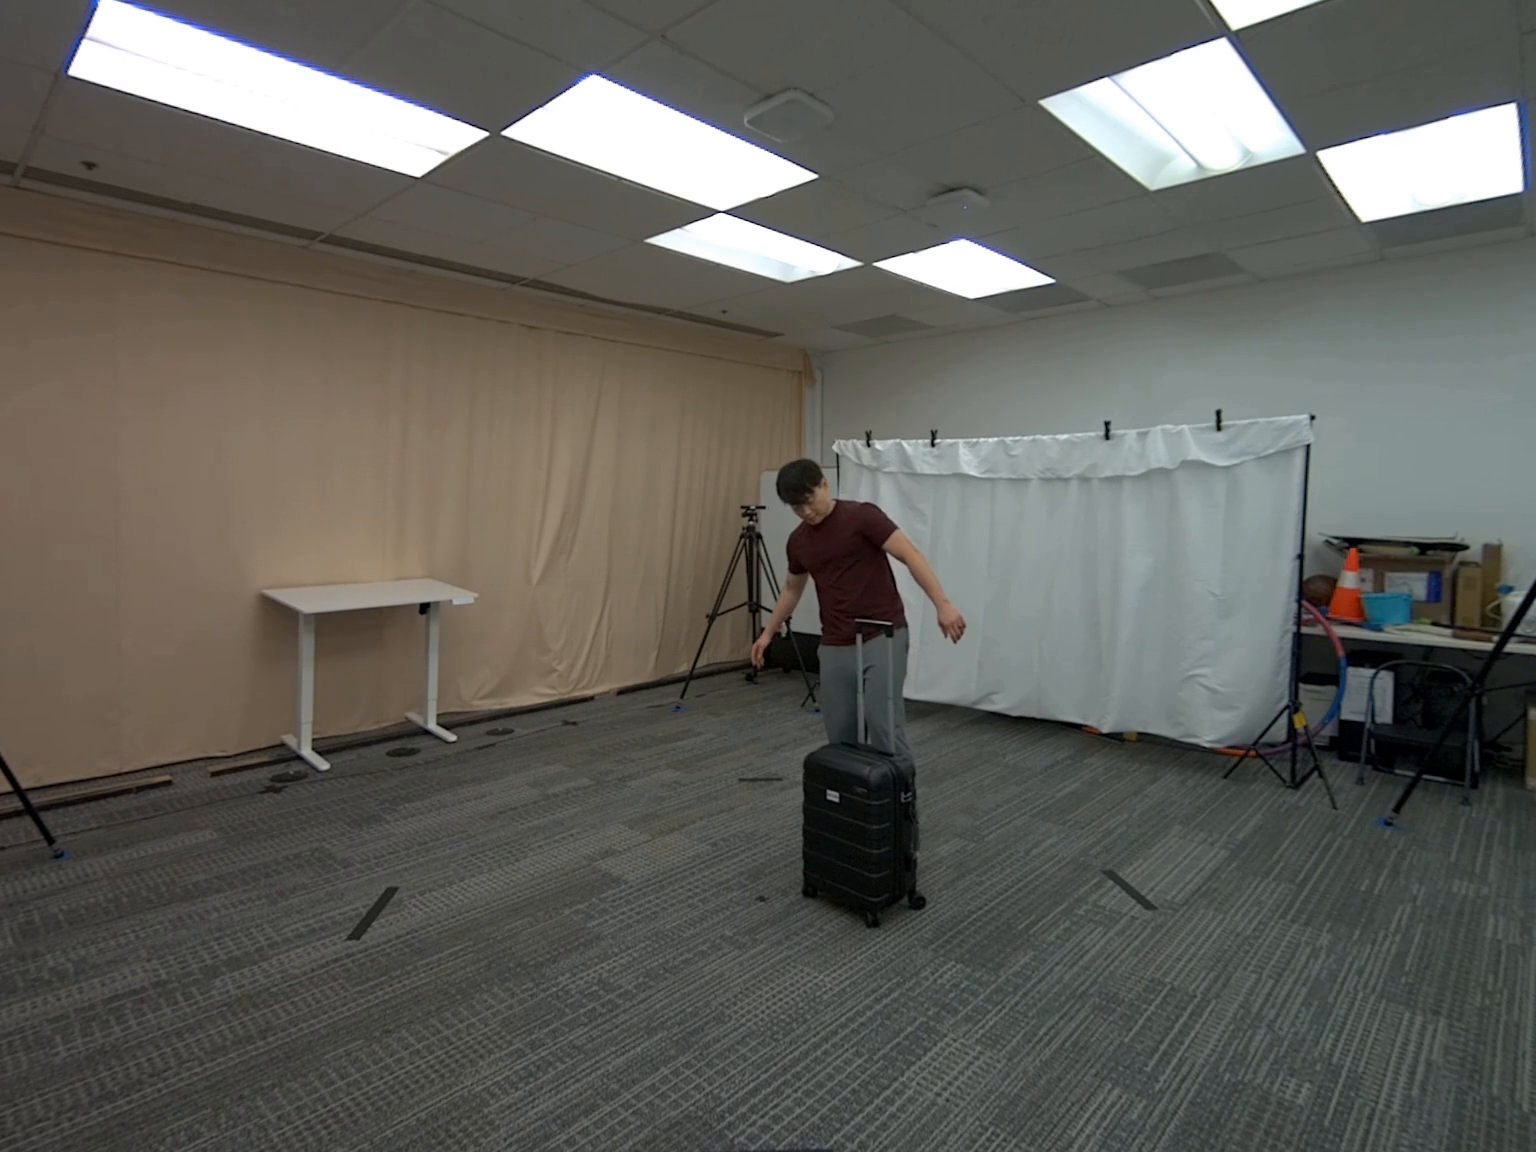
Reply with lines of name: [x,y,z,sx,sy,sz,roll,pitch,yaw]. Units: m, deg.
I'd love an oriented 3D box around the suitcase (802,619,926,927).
suitcase: [0.318,0.671,2.916,0.249,0.975,0.397,-6,7,-42]
